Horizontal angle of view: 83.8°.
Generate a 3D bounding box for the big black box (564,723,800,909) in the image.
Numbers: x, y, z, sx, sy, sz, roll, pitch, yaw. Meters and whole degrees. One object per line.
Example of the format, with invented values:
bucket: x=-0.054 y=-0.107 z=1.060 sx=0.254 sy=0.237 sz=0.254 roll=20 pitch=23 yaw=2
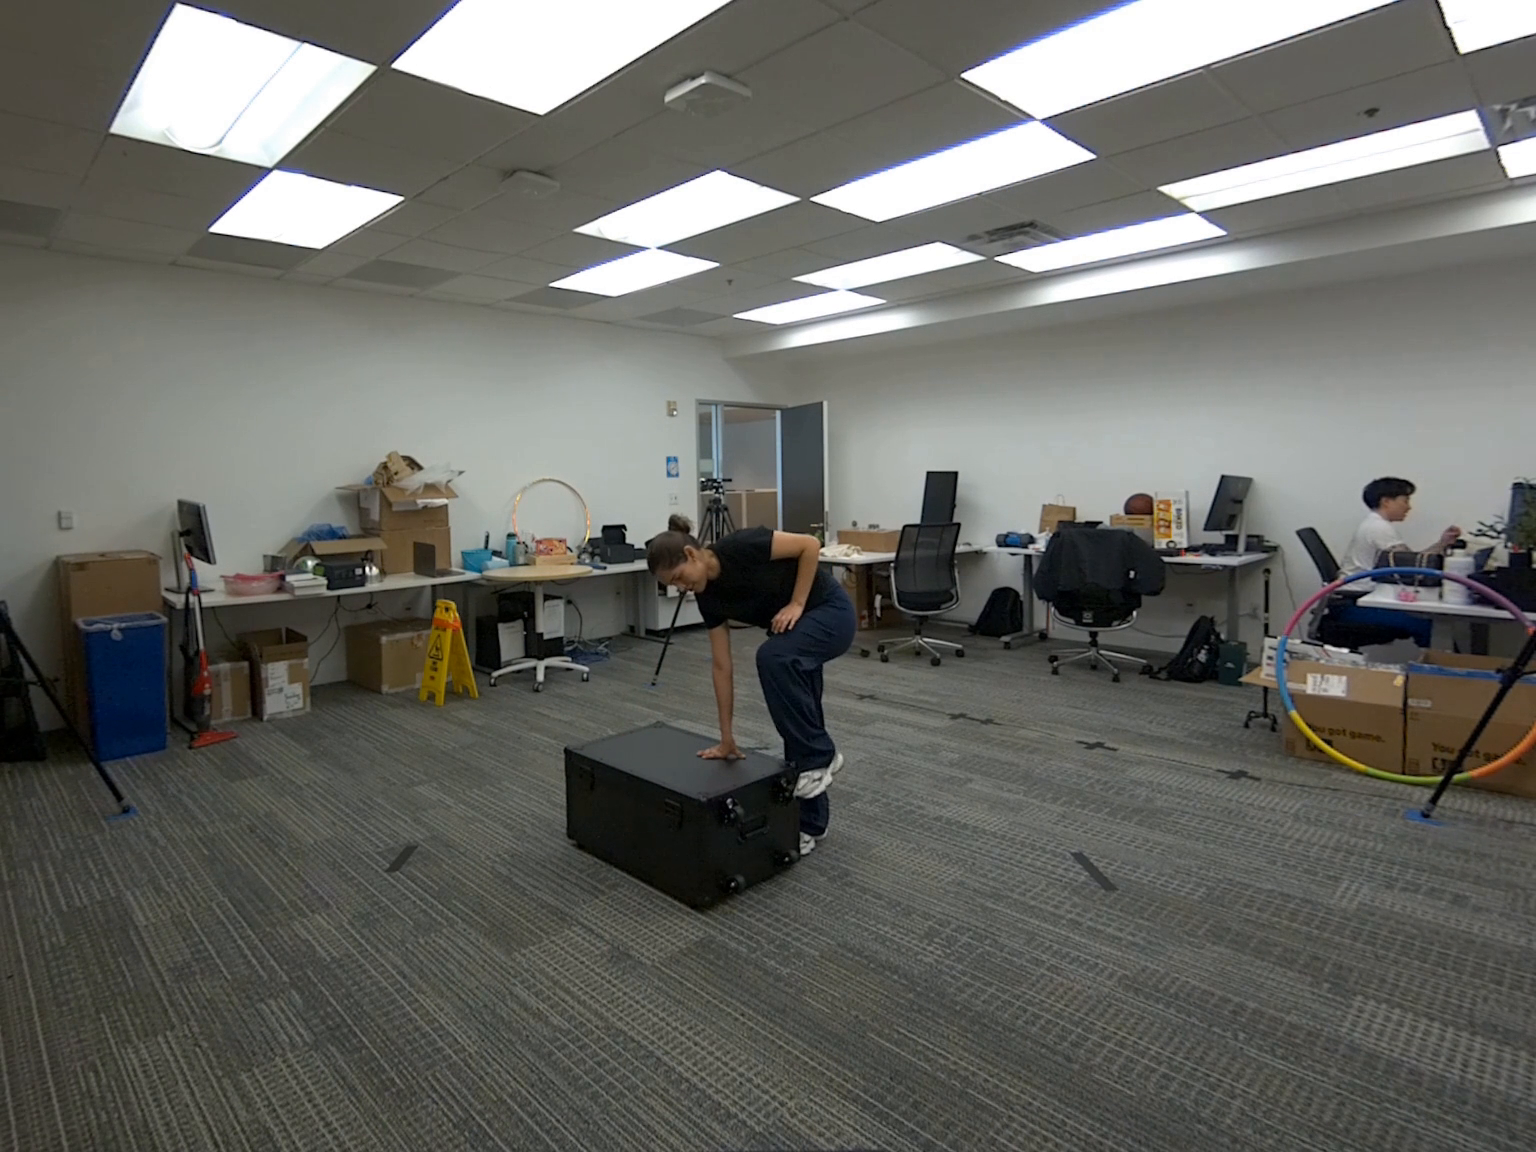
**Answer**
big black box: x=-0.309 y=0.835 z=3.165 sx=0.889 sy=0.394 sz=0.507 roll=6 pitch=9 yaw=44
